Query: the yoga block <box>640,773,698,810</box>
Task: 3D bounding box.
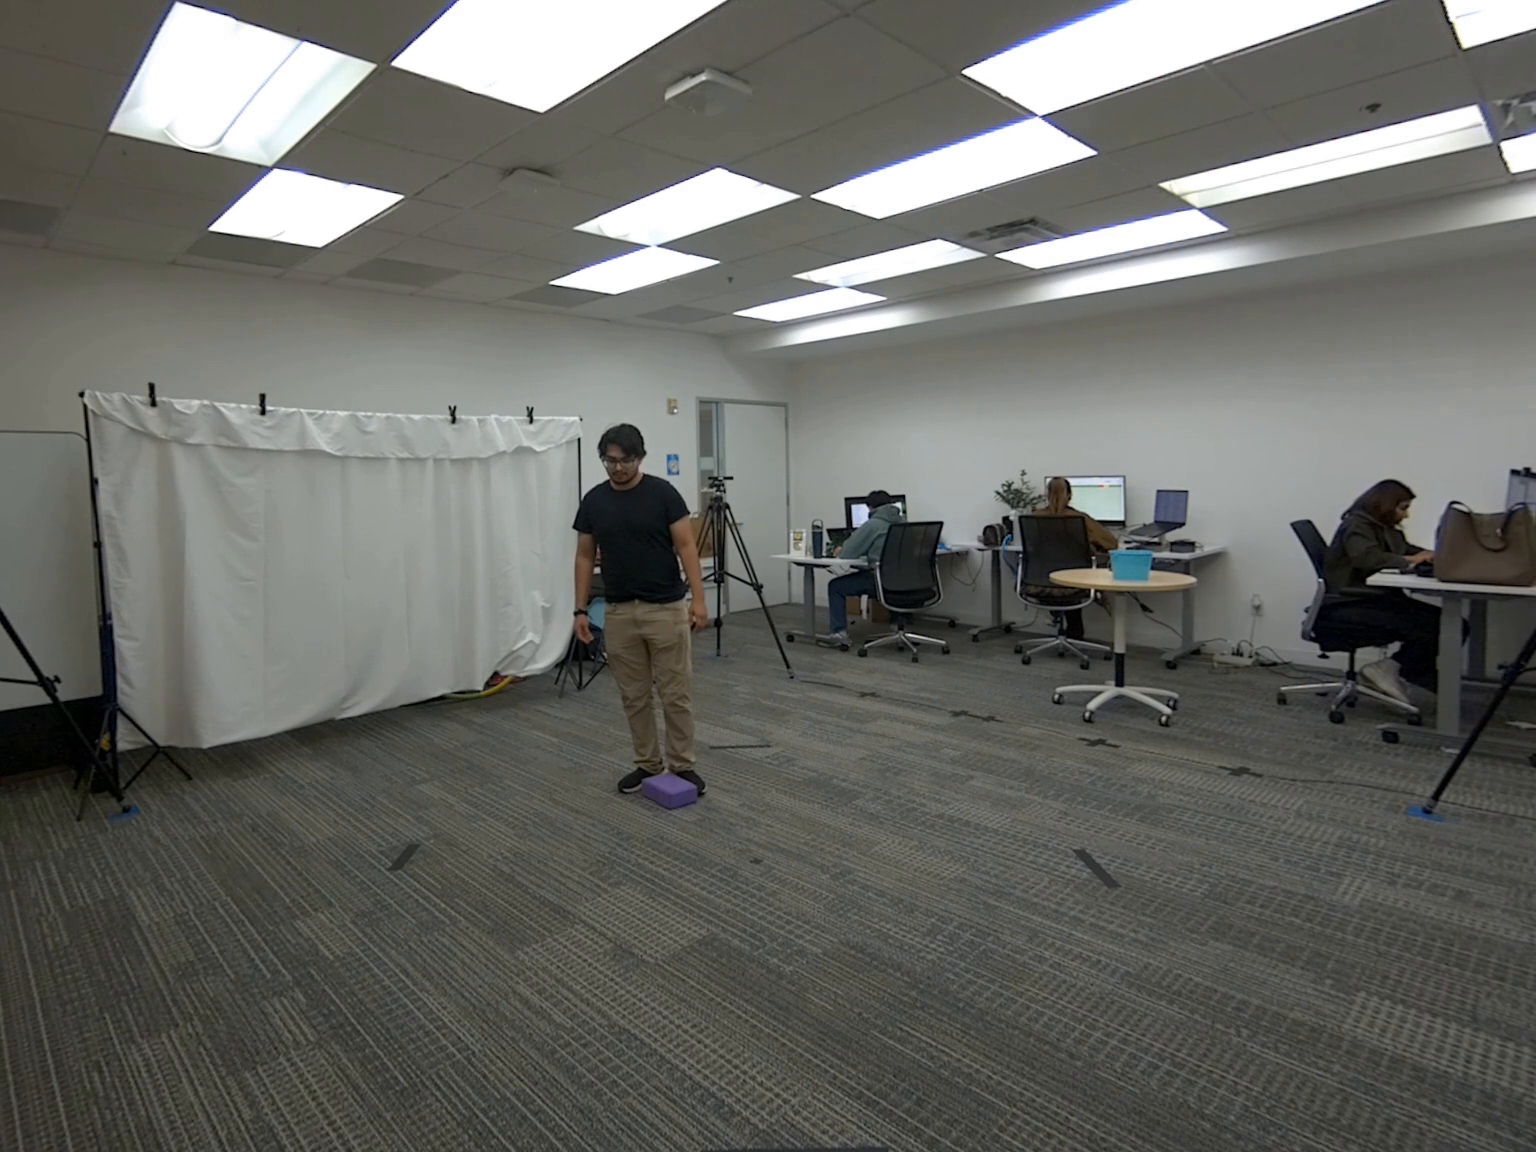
[{"bbox_3d":[-0.431,0.938,3.728,0.145,0.076,0.236,-6,8,-40],"label":"yoga block"}]
